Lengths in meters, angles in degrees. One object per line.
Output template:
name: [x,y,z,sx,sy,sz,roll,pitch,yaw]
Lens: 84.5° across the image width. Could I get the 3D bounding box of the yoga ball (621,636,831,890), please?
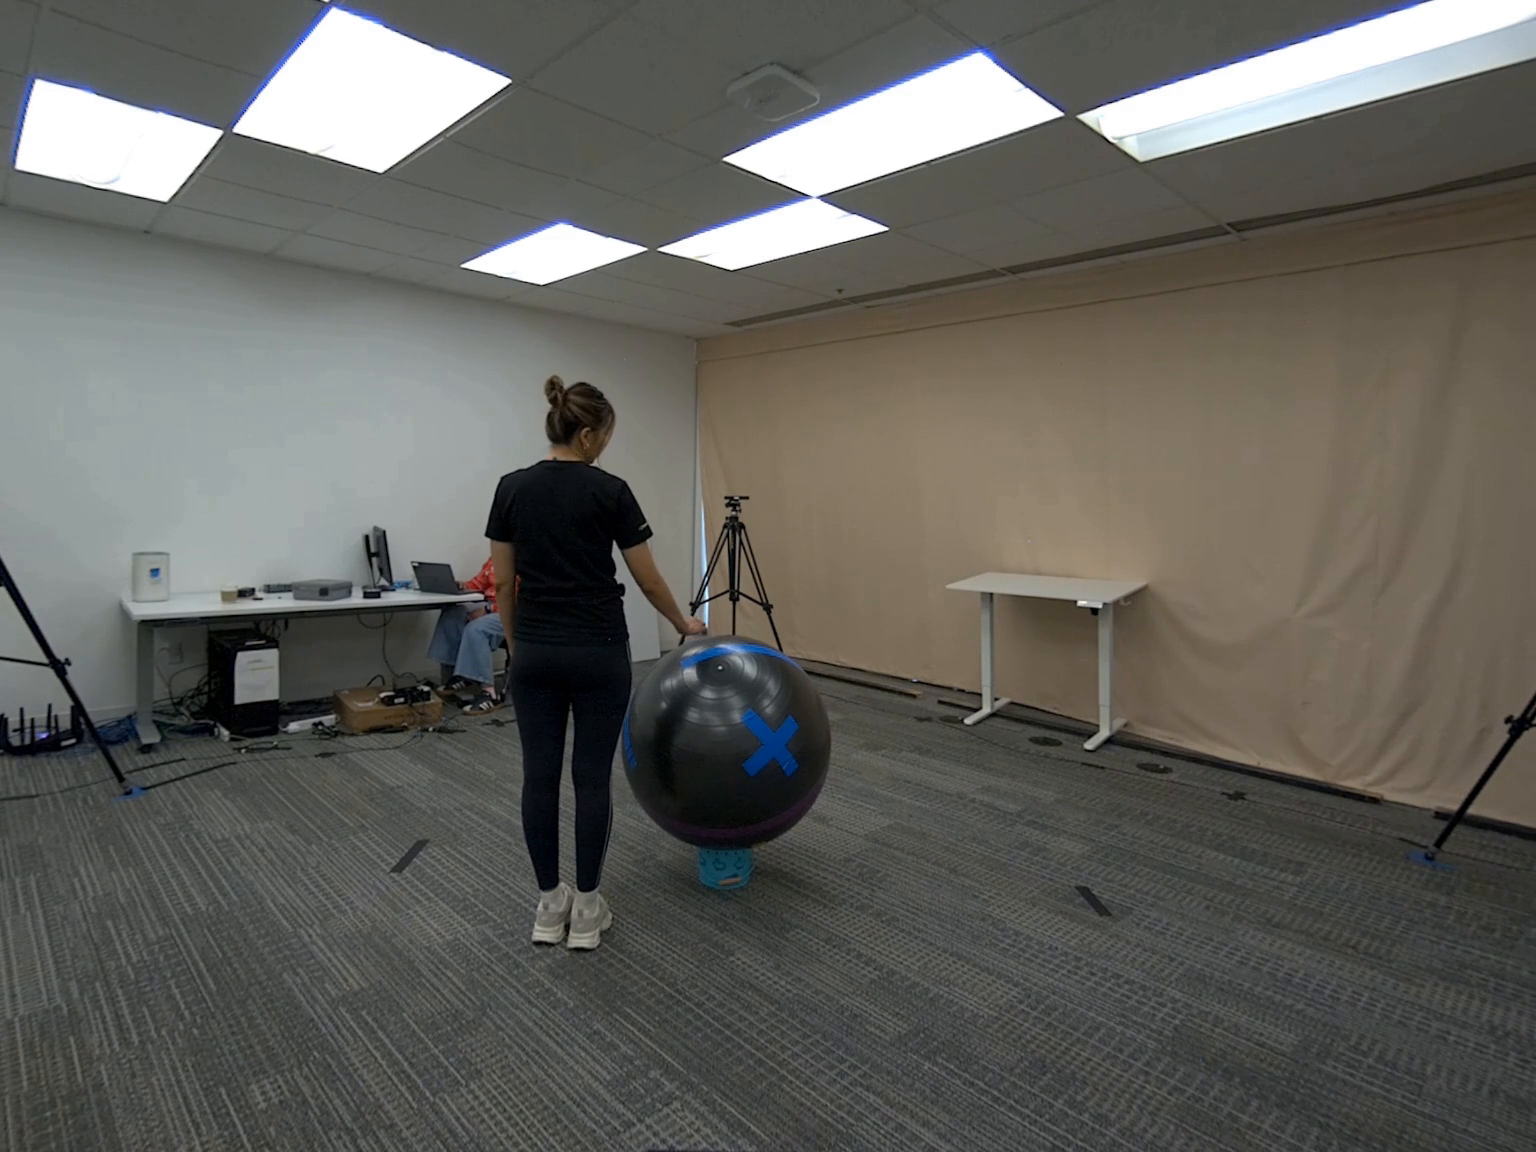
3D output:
yoga ball: [-0.154,0.601,3.046,0.757,0.756,0.761,1,4,-1]
